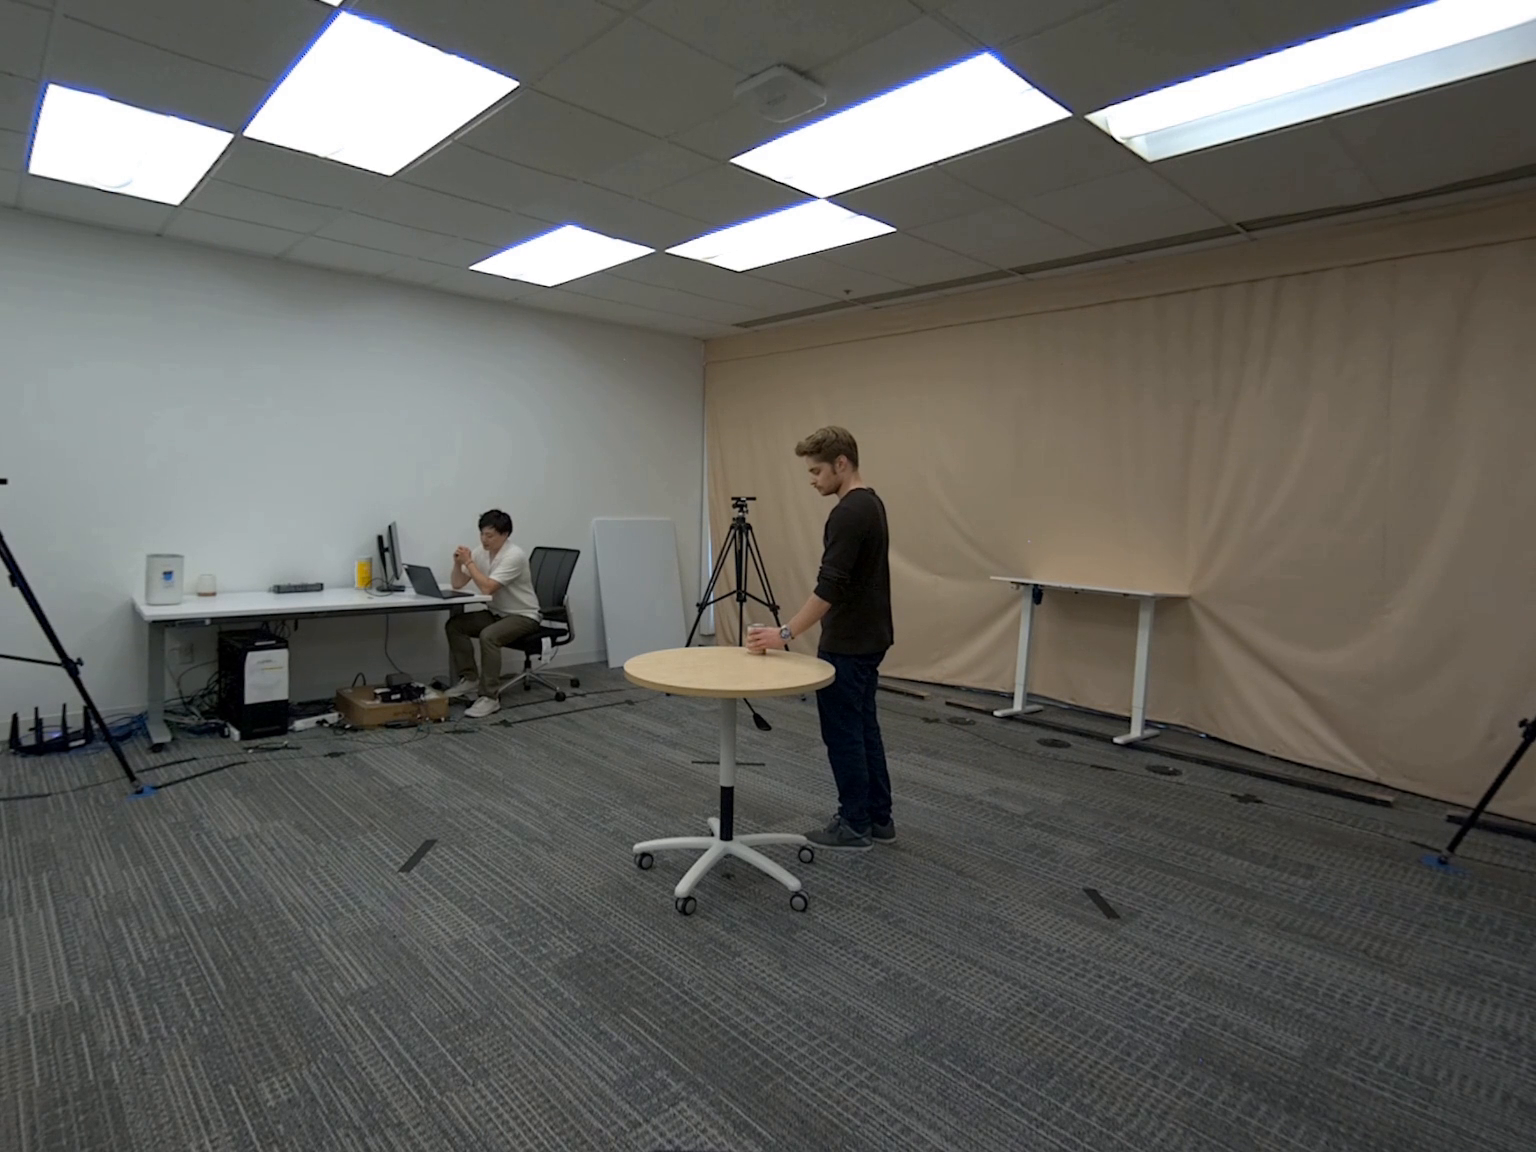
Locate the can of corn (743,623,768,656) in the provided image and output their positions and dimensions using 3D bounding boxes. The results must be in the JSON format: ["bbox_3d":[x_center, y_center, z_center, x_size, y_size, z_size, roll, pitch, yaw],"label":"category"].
[{"bbox_3d":[-0.049,0.248,3.302,0.074,0.111,0.074,2,4,-2],"label":"can of corn"}]
